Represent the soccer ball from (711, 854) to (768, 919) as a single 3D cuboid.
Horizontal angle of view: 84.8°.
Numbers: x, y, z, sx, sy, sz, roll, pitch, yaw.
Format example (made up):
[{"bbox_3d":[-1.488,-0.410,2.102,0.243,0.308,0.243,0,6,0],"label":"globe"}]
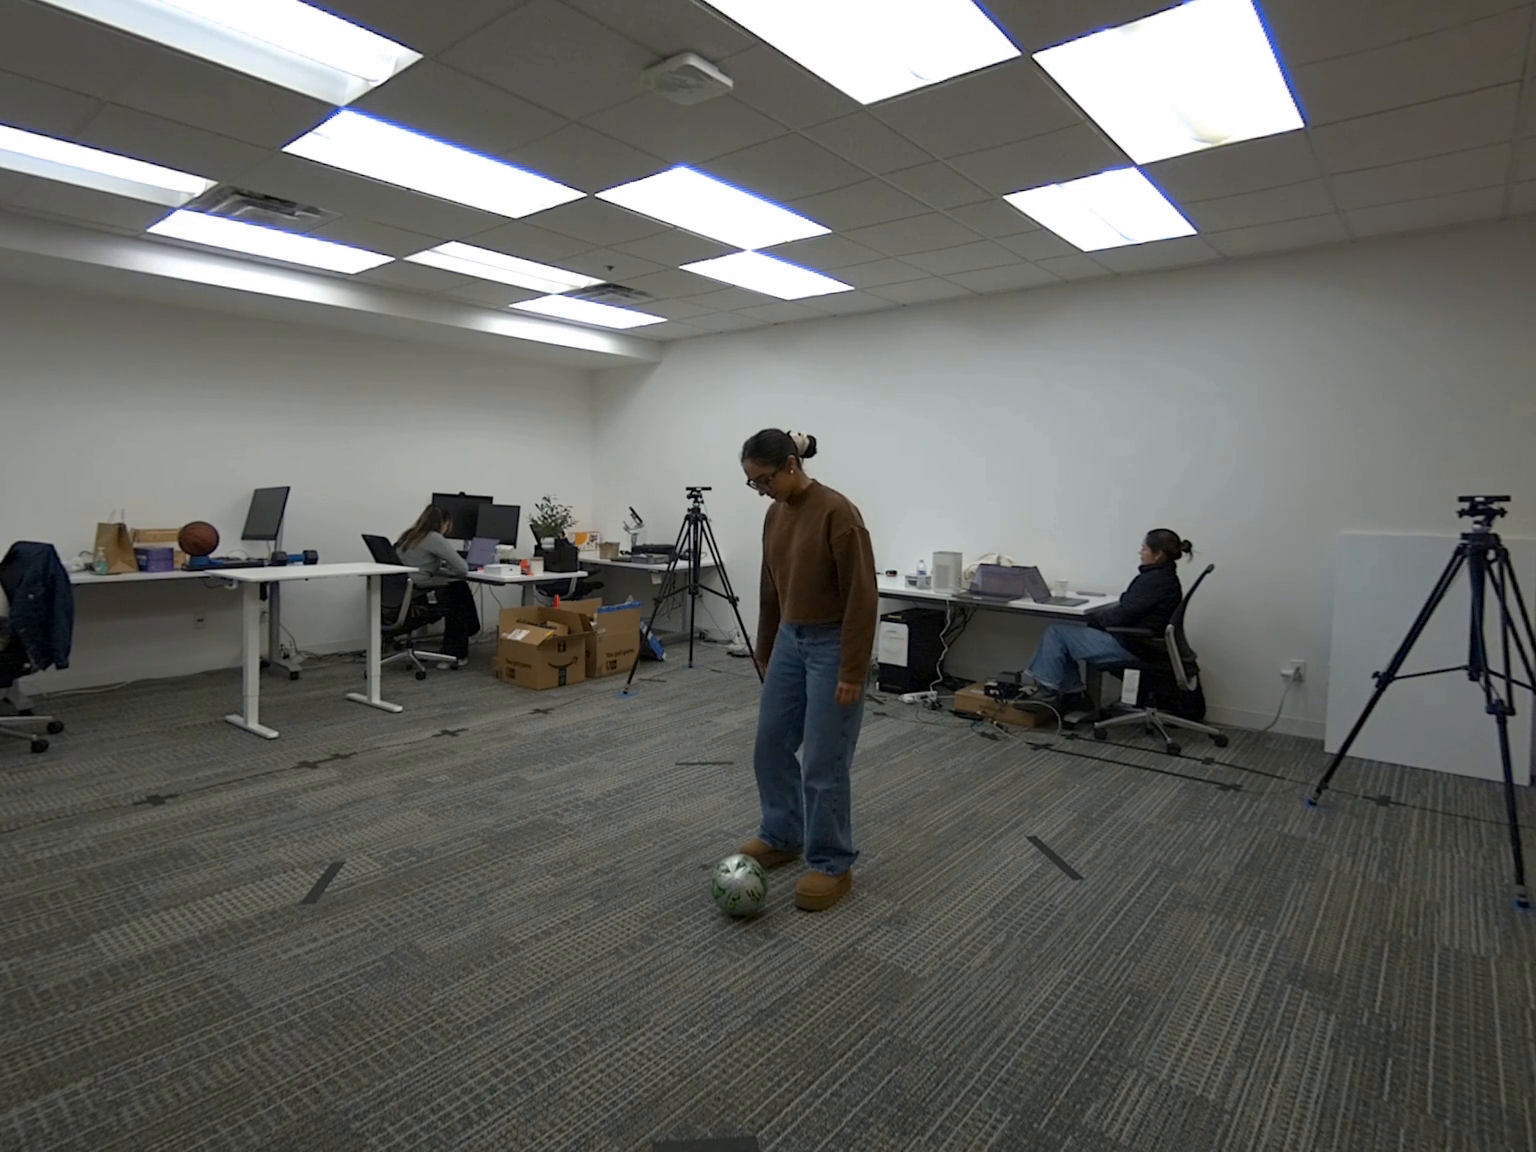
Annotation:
[{"bbox_3d":[-0.097,1.004,2.782,0.187,0.187,0.188,1,4,-2],"label":"soccer ball"}]
